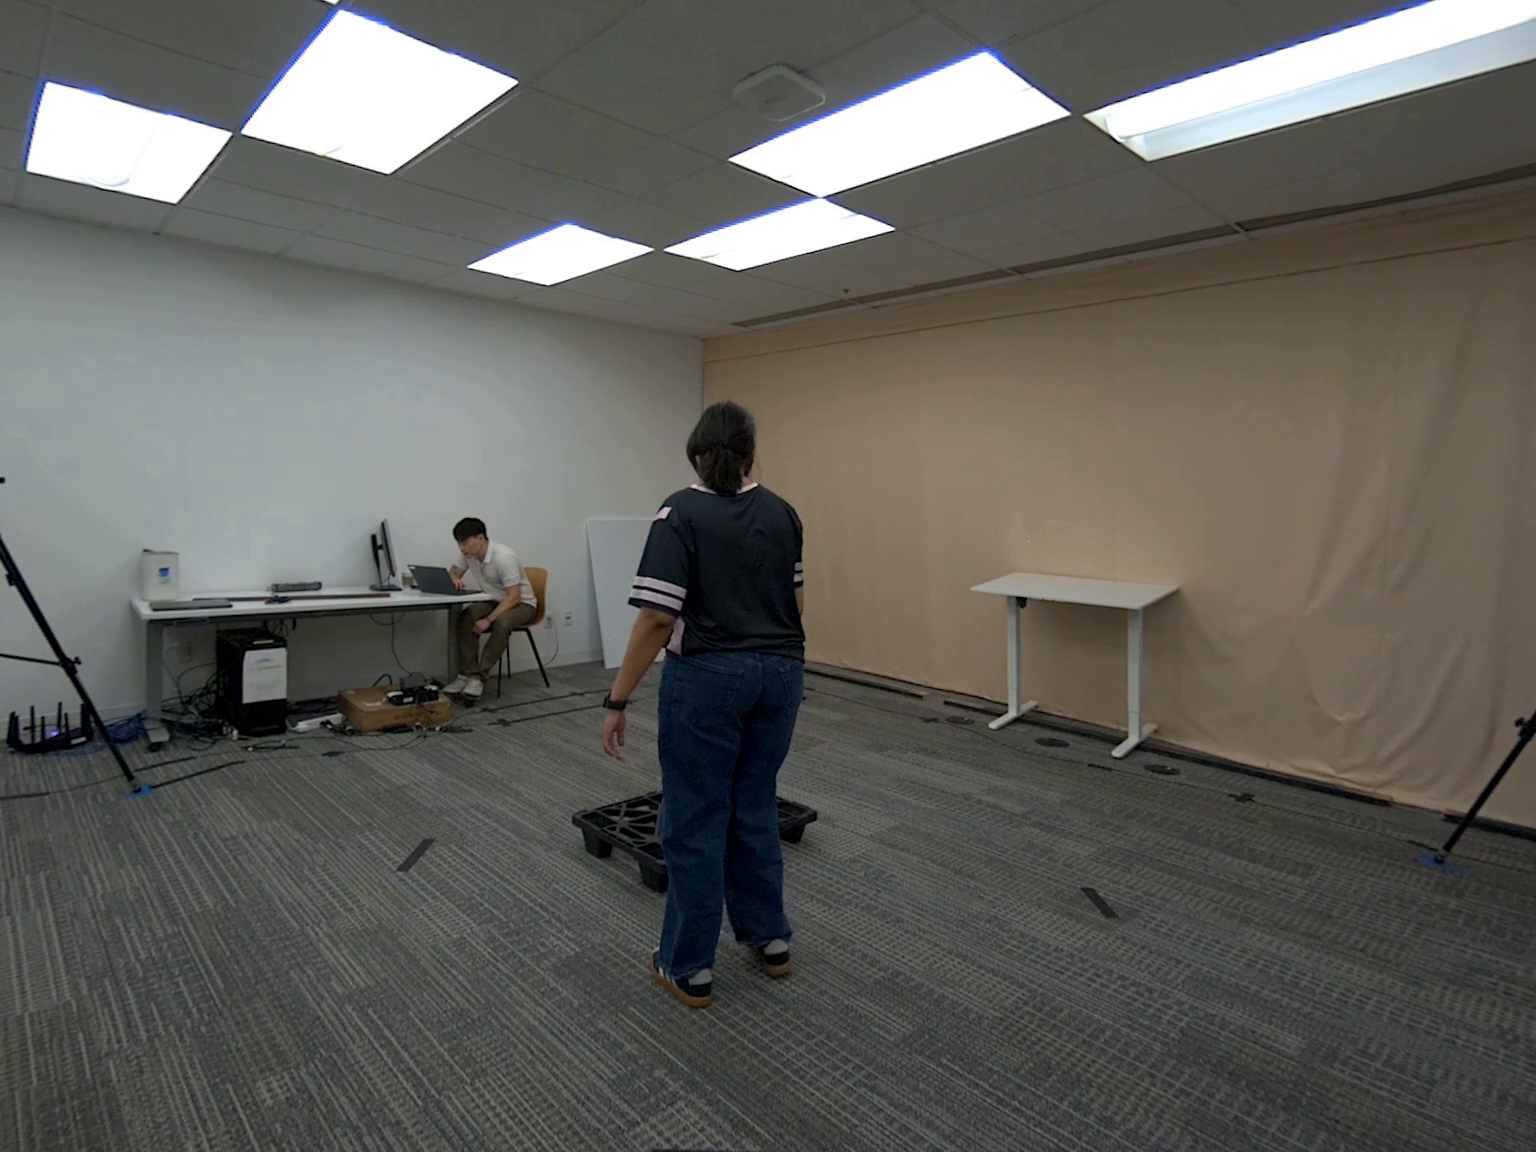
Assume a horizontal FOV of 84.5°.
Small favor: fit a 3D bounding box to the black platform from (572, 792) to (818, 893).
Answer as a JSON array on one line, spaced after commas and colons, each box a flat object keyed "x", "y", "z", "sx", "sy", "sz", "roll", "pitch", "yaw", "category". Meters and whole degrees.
[{"x": -0.294, "y": 1.012, "z": 3.357, "sx": 0.787, "sy": 0.143, "sz": 0.620, "roll": -3, "pitch": 6, "yaw": -44, "category": "black platform"}]
